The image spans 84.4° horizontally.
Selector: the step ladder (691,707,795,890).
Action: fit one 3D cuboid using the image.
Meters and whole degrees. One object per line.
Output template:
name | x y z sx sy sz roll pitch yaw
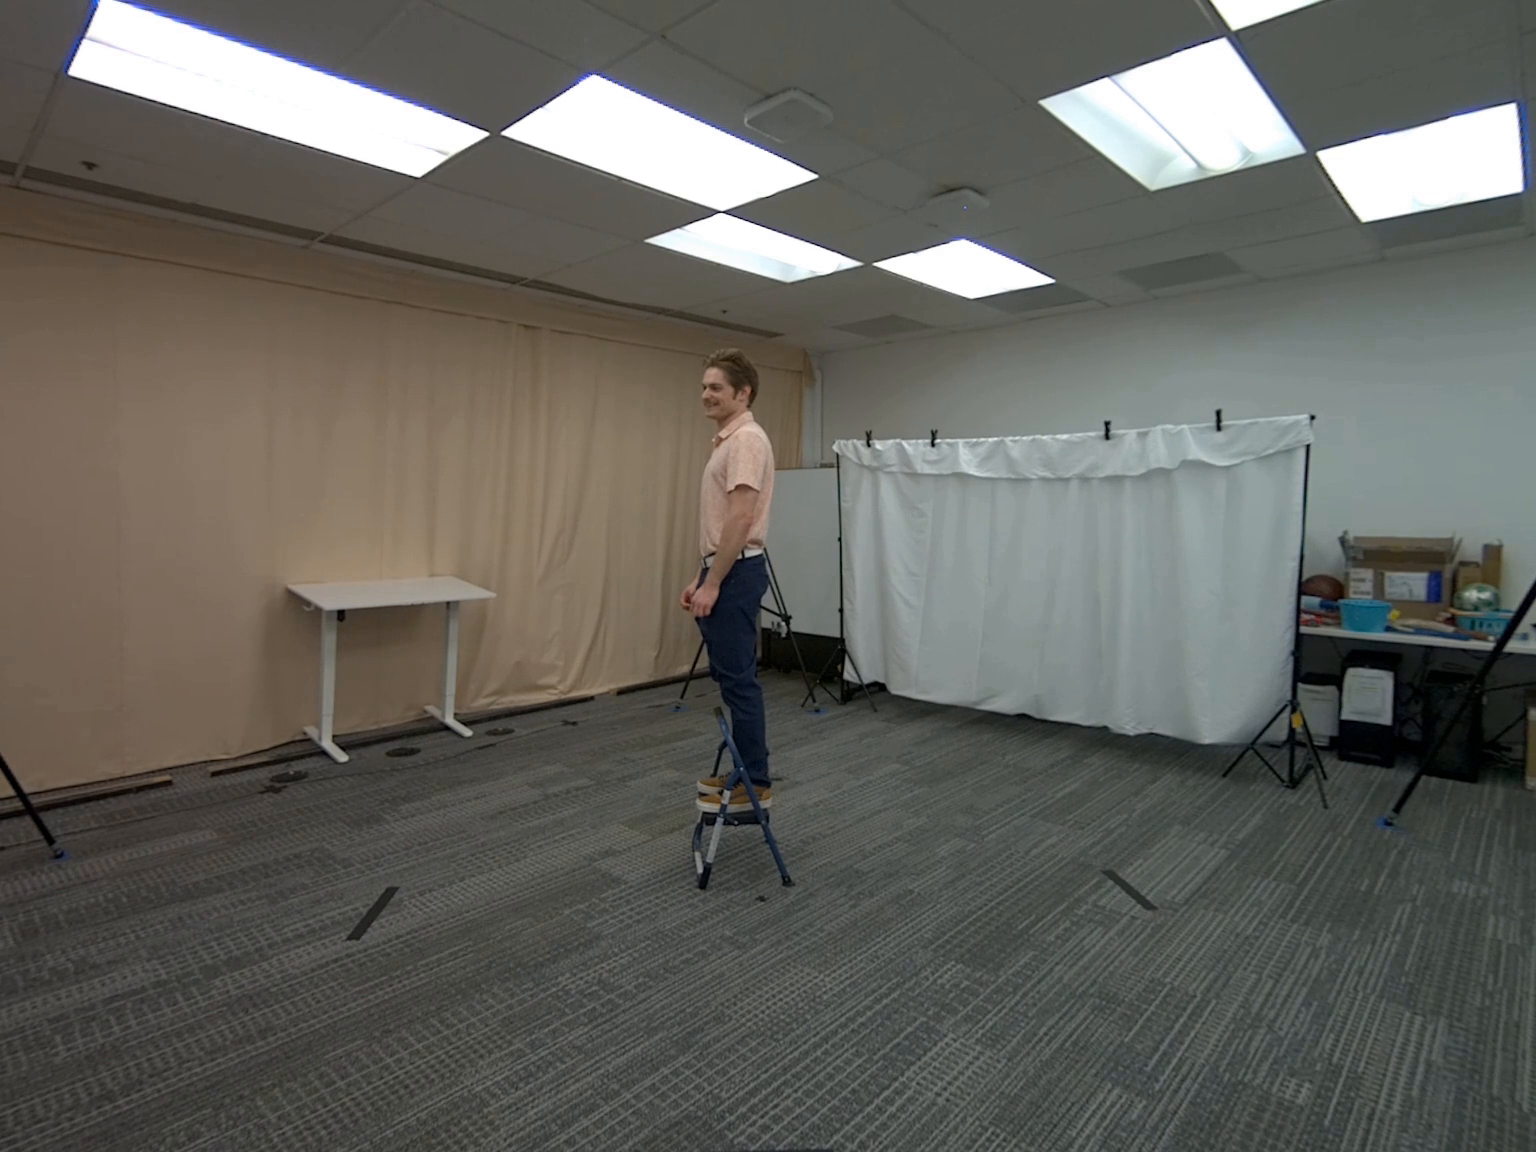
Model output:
step ladder | -0.114 0.822 3.258 0.346 0.605 0.435 0 3 -9
